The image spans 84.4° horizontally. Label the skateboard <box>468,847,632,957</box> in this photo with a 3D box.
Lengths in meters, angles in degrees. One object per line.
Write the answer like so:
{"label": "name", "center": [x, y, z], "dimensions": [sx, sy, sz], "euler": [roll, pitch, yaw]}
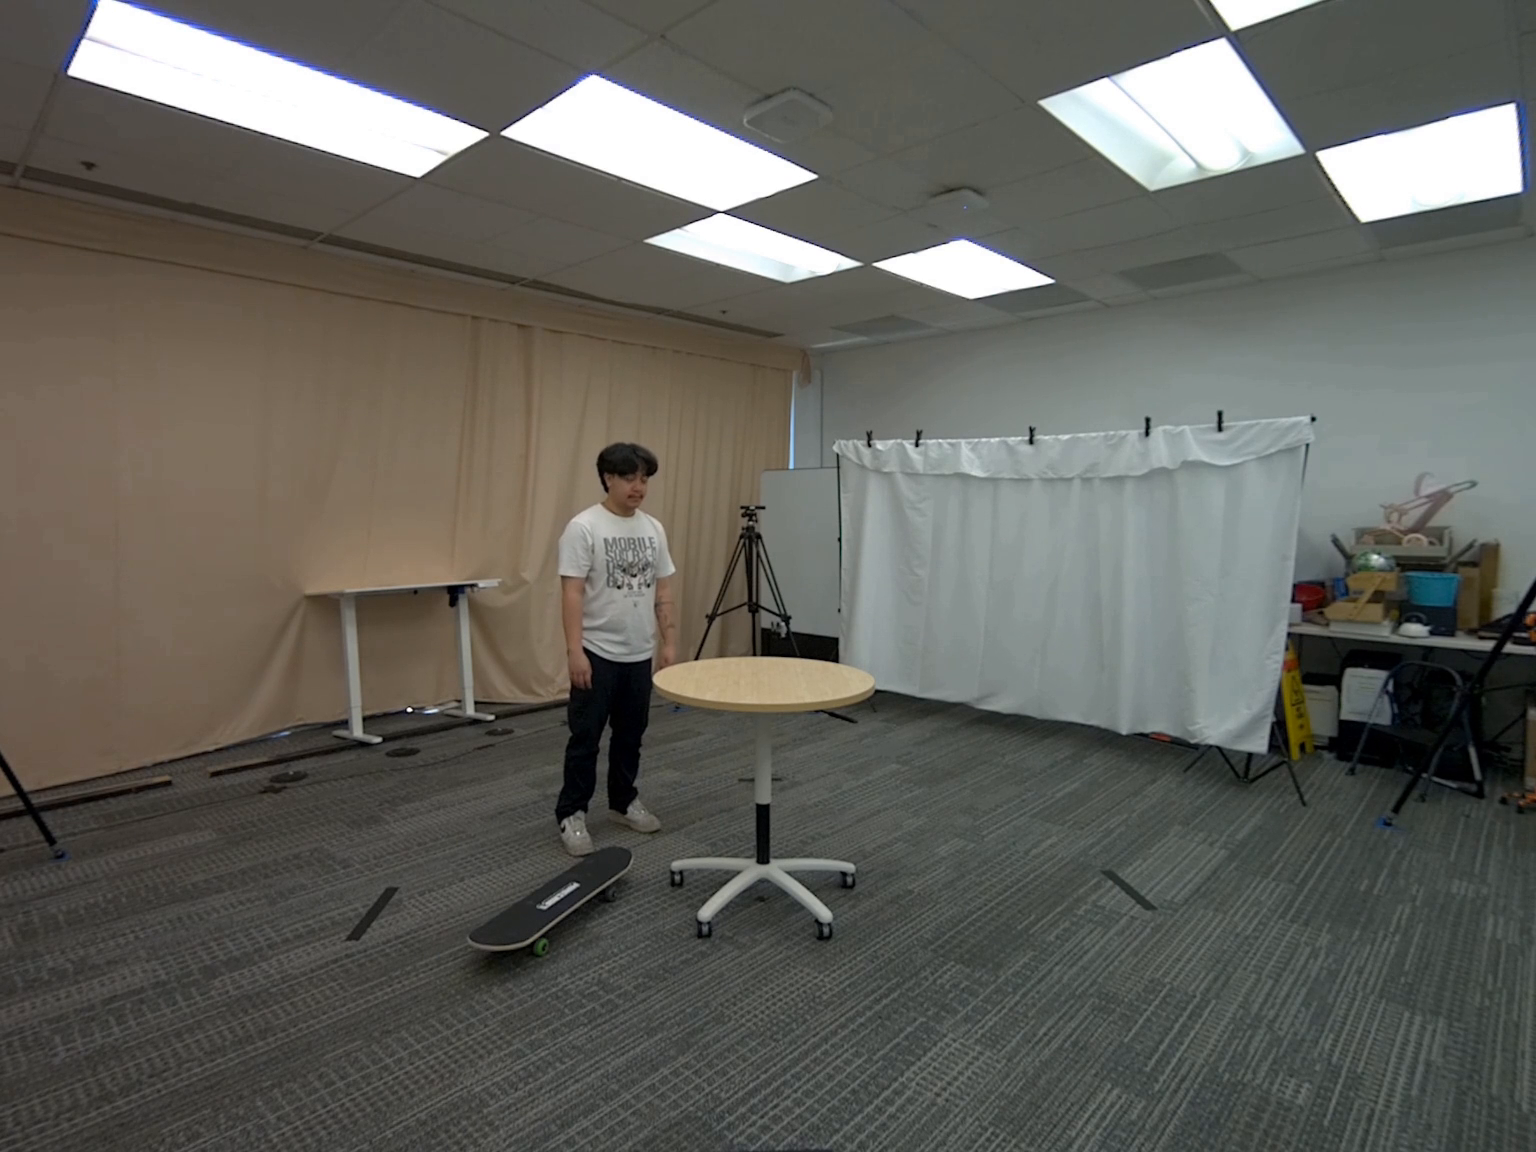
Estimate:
{"label": "skateboard", "center": [-0.701, 1.104, 2.832], "dimensions": [0.198, 0.110, 0.768], "euler": [1, 5, 23]}
